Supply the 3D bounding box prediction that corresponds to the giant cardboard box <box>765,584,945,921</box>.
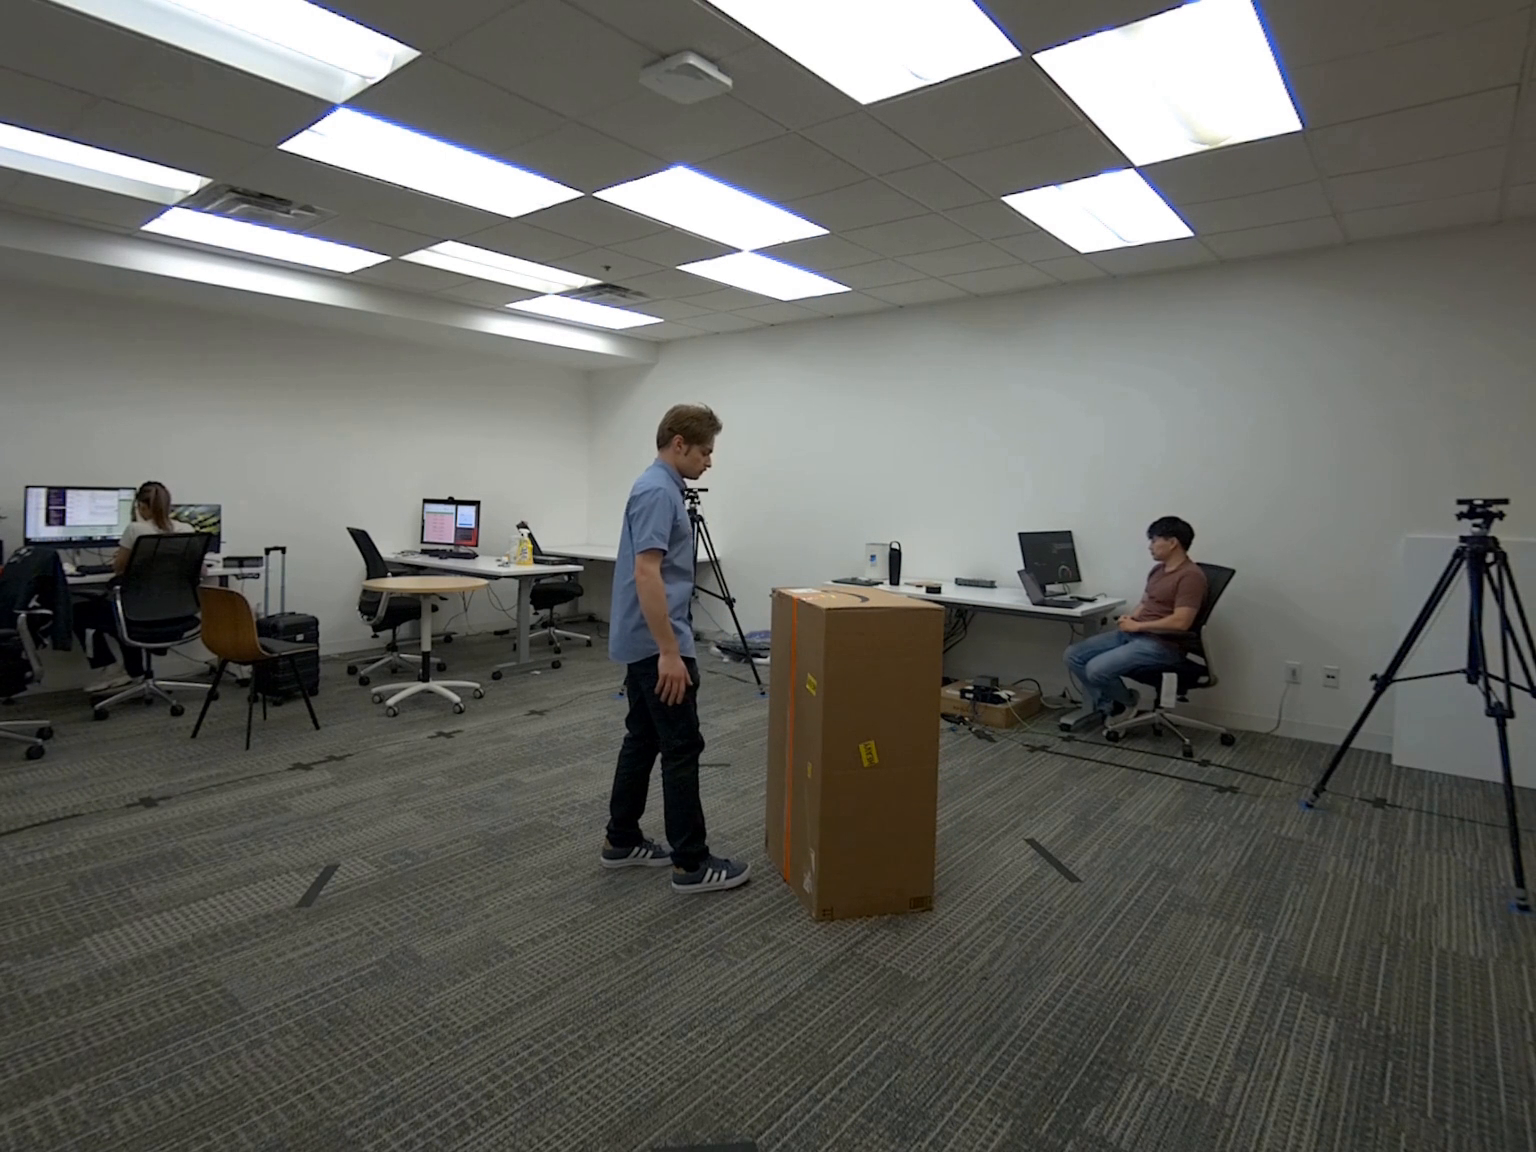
[{"bbox_3d":[0.278,0.579,3.032,0.441,1.024,0.594,0,4,-14],"label":"giant cardboard box"}]
